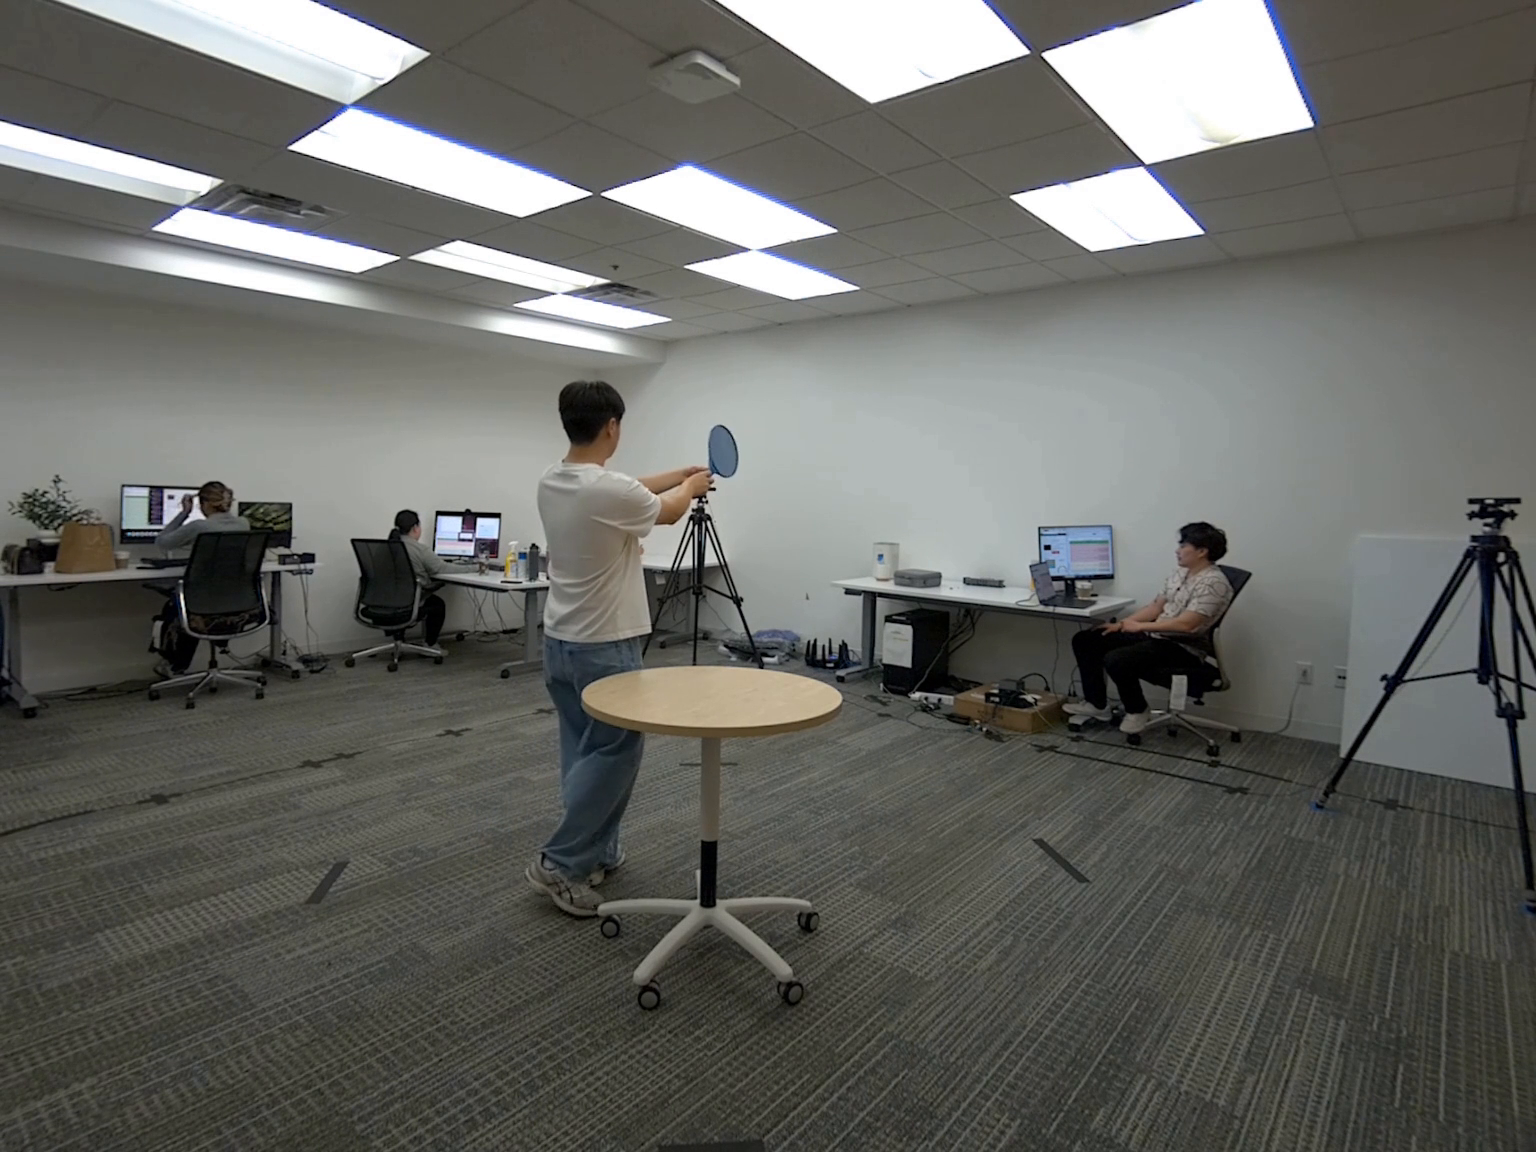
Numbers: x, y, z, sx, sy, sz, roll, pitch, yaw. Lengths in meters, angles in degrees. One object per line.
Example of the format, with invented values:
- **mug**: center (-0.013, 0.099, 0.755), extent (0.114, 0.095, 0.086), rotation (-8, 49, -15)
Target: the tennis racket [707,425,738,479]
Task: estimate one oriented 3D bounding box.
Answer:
- **tennis racket**: center (-0.216, -0.466, 3.442), extent (0.032, 0.207, 0.438), rotation (-12, 32, 25)
